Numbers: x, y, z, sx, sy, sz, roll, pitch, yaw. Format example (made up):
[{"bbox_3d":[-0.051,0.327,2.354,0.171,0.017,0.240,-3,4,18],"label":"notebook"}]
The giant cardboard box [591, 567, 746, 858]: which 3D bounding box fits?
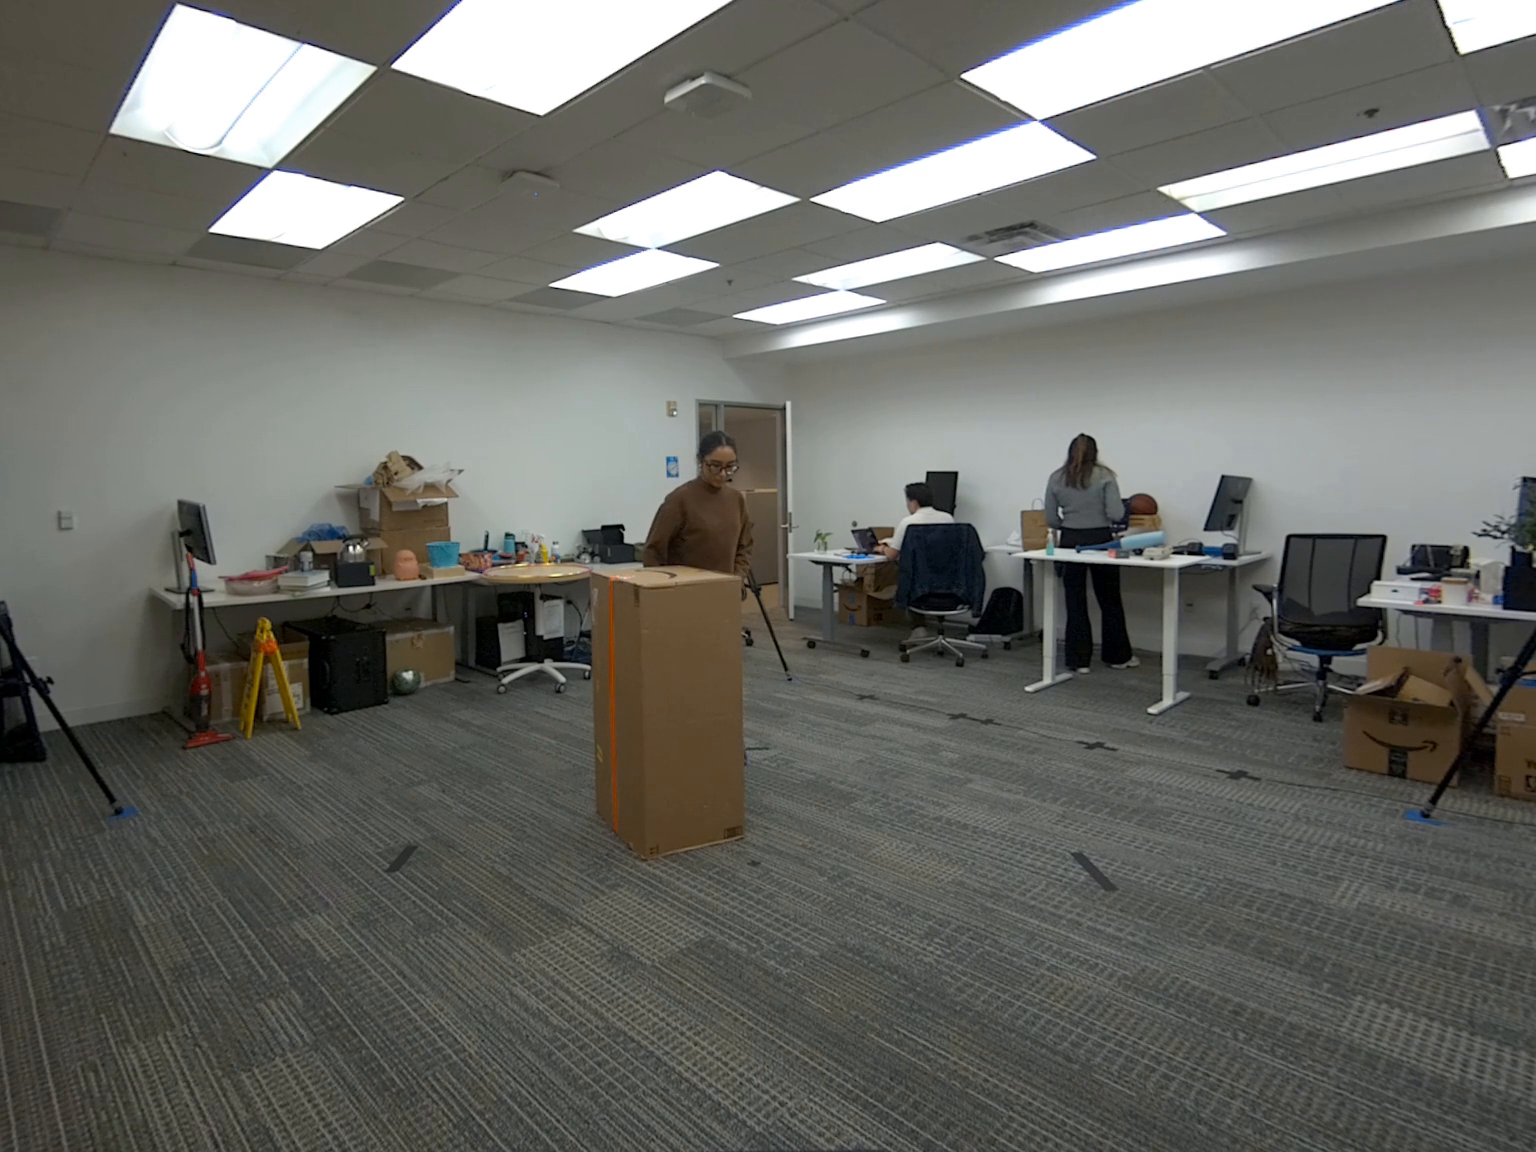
[{"bbox_3d":[-0.426,0.505,3.447,0.416,1.022,0.594,-3,5,-30],"label":"giant cardboard box"}]
